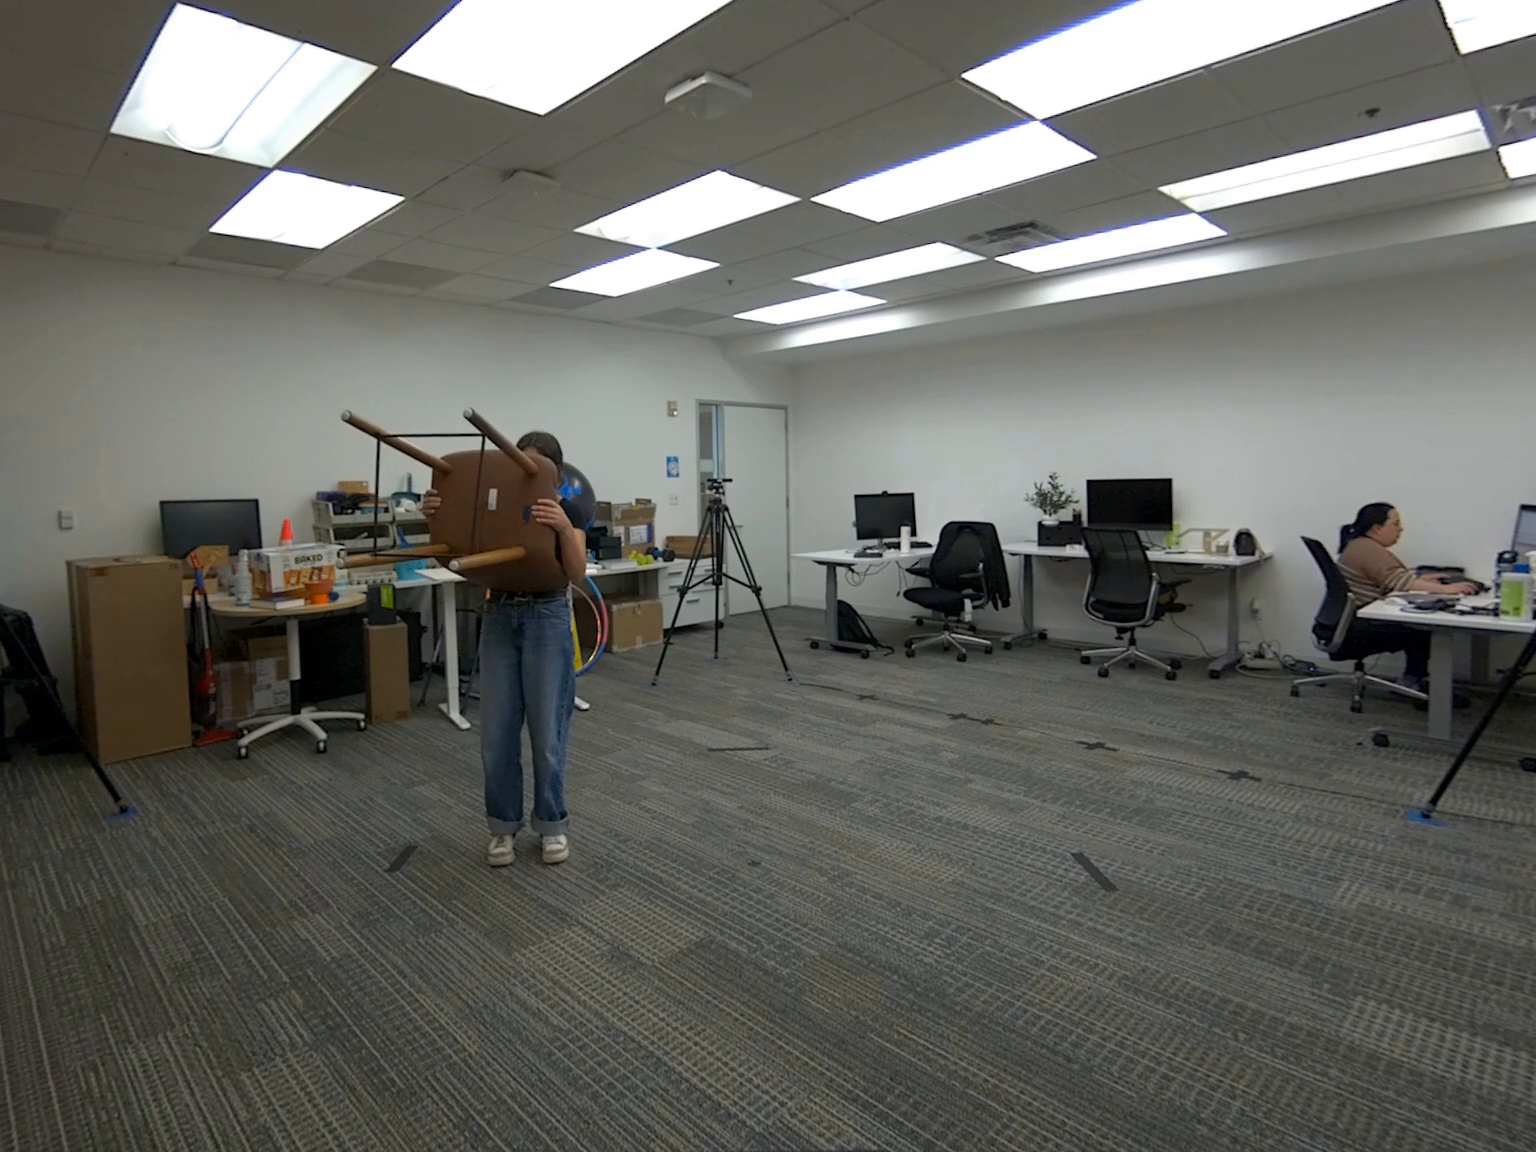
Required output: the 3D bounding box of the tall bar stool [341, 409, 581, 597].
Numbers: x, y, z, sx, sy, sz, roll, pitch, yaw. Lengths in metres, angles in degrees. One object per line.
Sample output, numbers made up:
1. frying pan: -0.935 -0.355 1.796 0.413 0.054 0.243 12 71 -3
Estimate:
1. tall bar stool: -0.980 -0.201 2.803 0.461 0.470 0.875 0 -6 9
